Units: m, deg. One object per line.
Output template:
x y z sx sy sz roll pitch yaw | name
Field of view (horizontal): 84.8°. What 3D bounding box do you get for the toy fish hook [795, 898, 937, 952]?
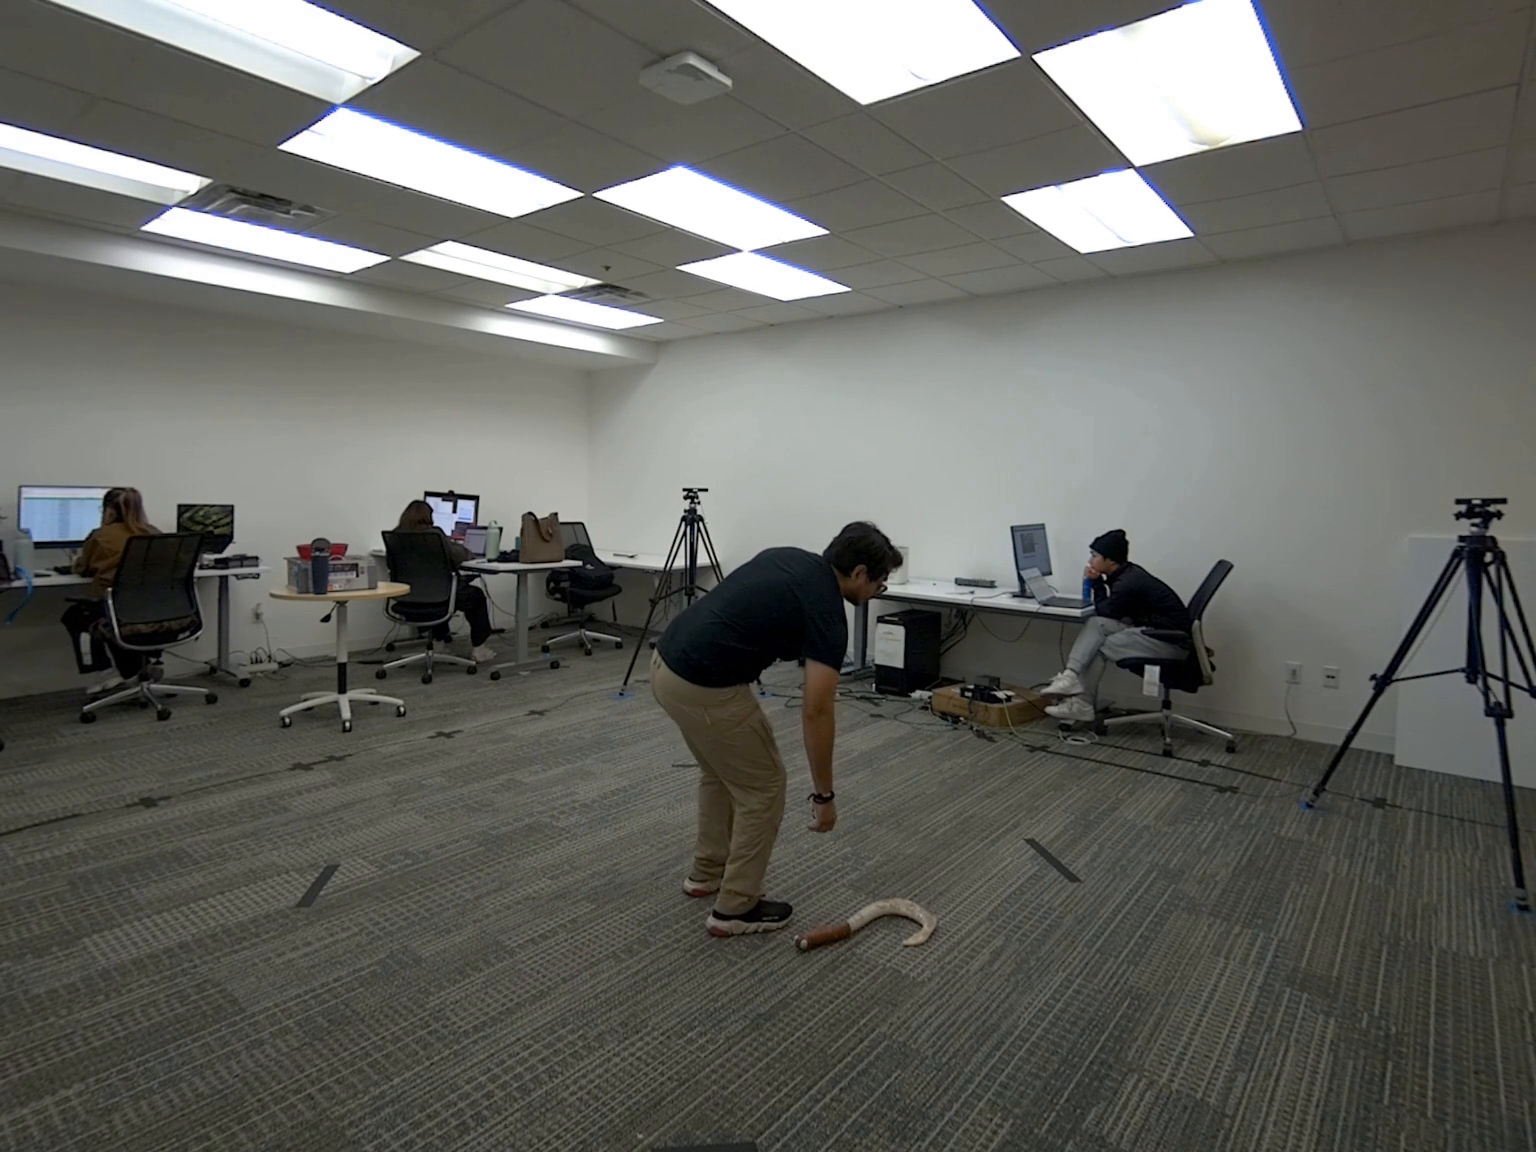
0.314 1.104 2.660 0.492 0.048 0.232 -3 7 -34 | toy fish hook
